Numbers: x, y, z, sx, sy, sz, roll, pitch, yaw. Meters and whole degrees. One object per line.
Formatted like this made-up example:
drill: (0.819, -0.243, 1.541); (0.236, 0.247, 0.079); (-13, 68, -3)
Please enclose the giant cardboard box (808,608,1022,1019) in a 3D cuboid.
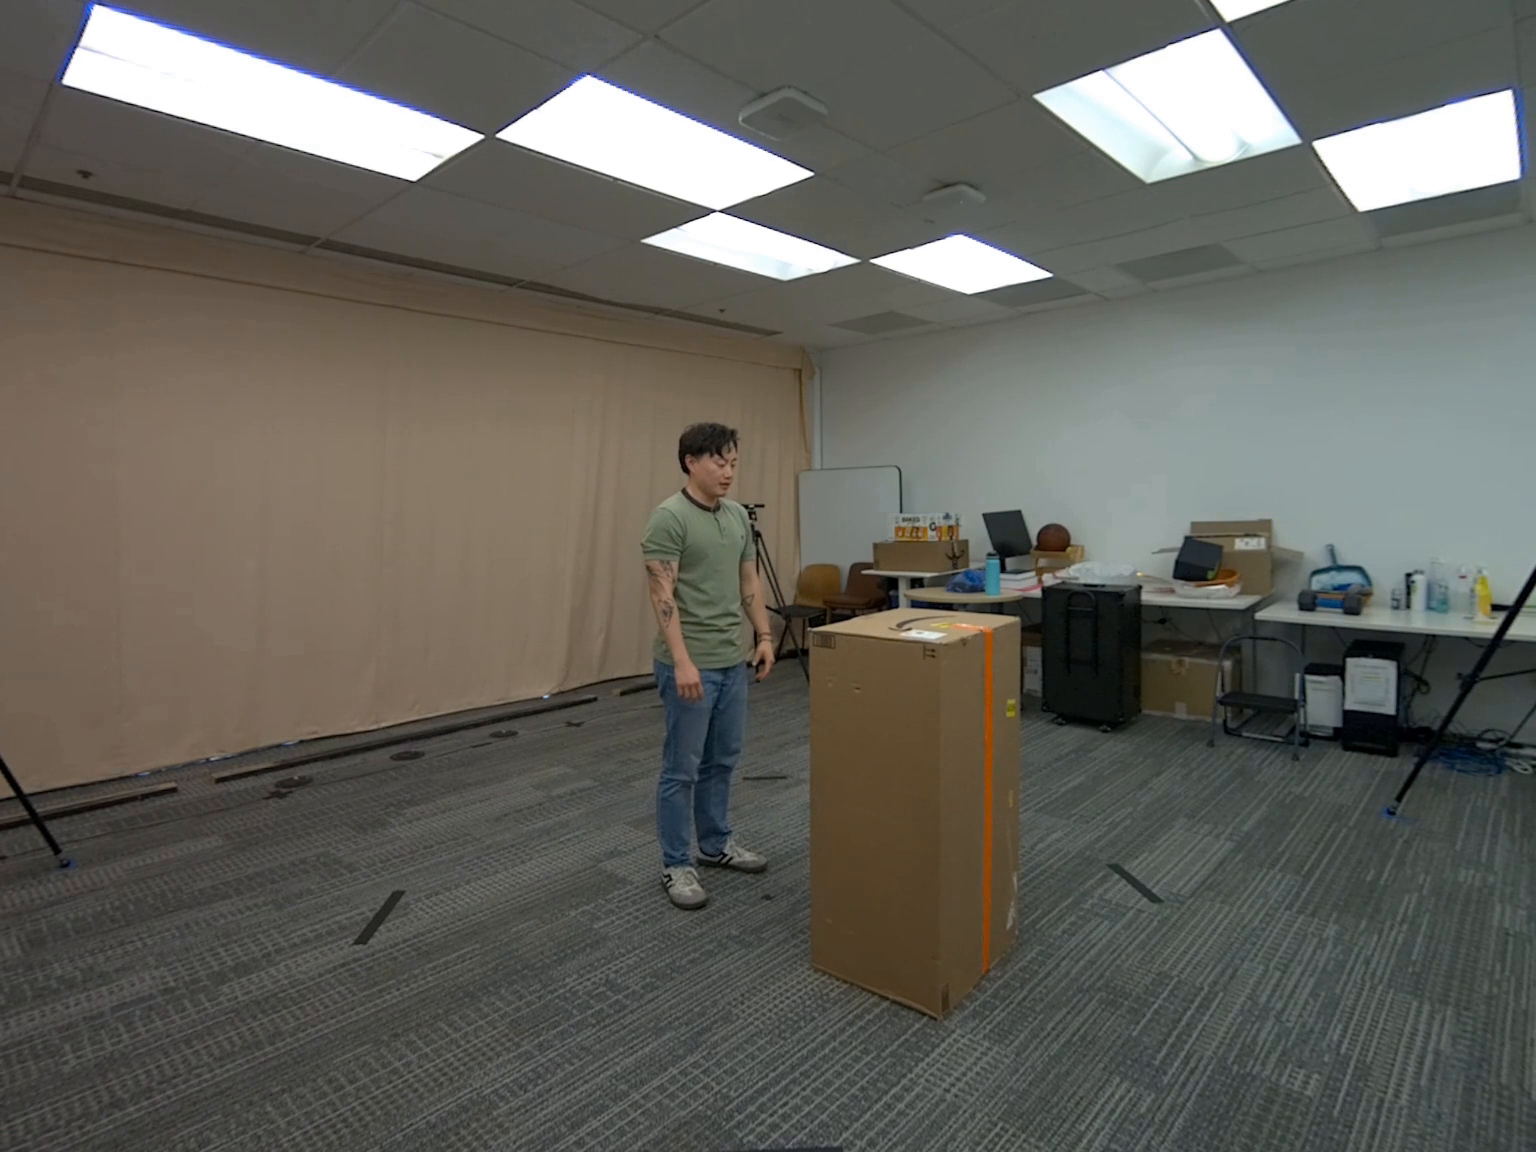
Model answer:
giant cardboard box: (0.465, 0.655, 2.574); (0.440, 1.023, 0.560); (2, 4, 38)
